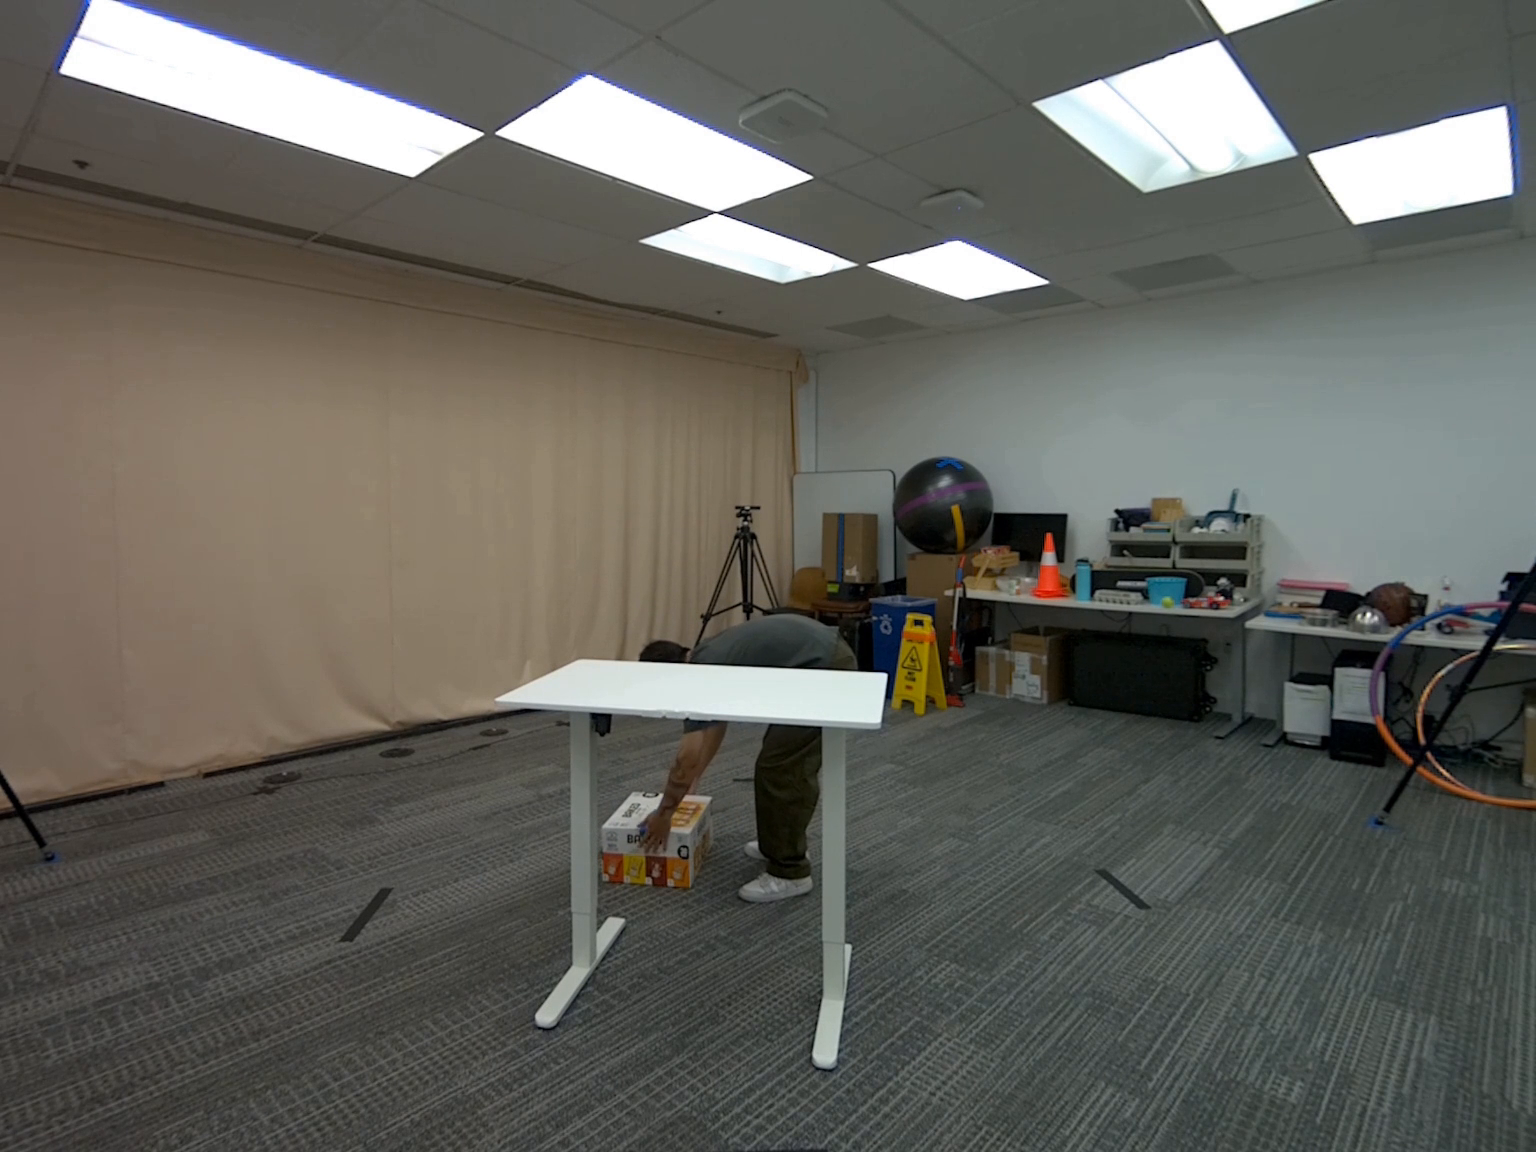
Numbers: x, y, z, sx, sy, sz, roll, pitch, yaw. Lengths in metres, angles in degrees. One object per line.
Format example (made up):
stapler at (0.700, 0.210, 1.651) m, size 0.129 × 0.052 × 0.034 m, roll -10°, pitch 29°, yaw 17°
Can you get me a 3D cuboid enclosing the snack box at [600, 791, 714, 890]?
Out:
snack box at (-0.423, 1.014, 3.295) m, size 0.344 × 0.205 × 0.401 m, roll 0°, pitch 4°, yaw 9°
